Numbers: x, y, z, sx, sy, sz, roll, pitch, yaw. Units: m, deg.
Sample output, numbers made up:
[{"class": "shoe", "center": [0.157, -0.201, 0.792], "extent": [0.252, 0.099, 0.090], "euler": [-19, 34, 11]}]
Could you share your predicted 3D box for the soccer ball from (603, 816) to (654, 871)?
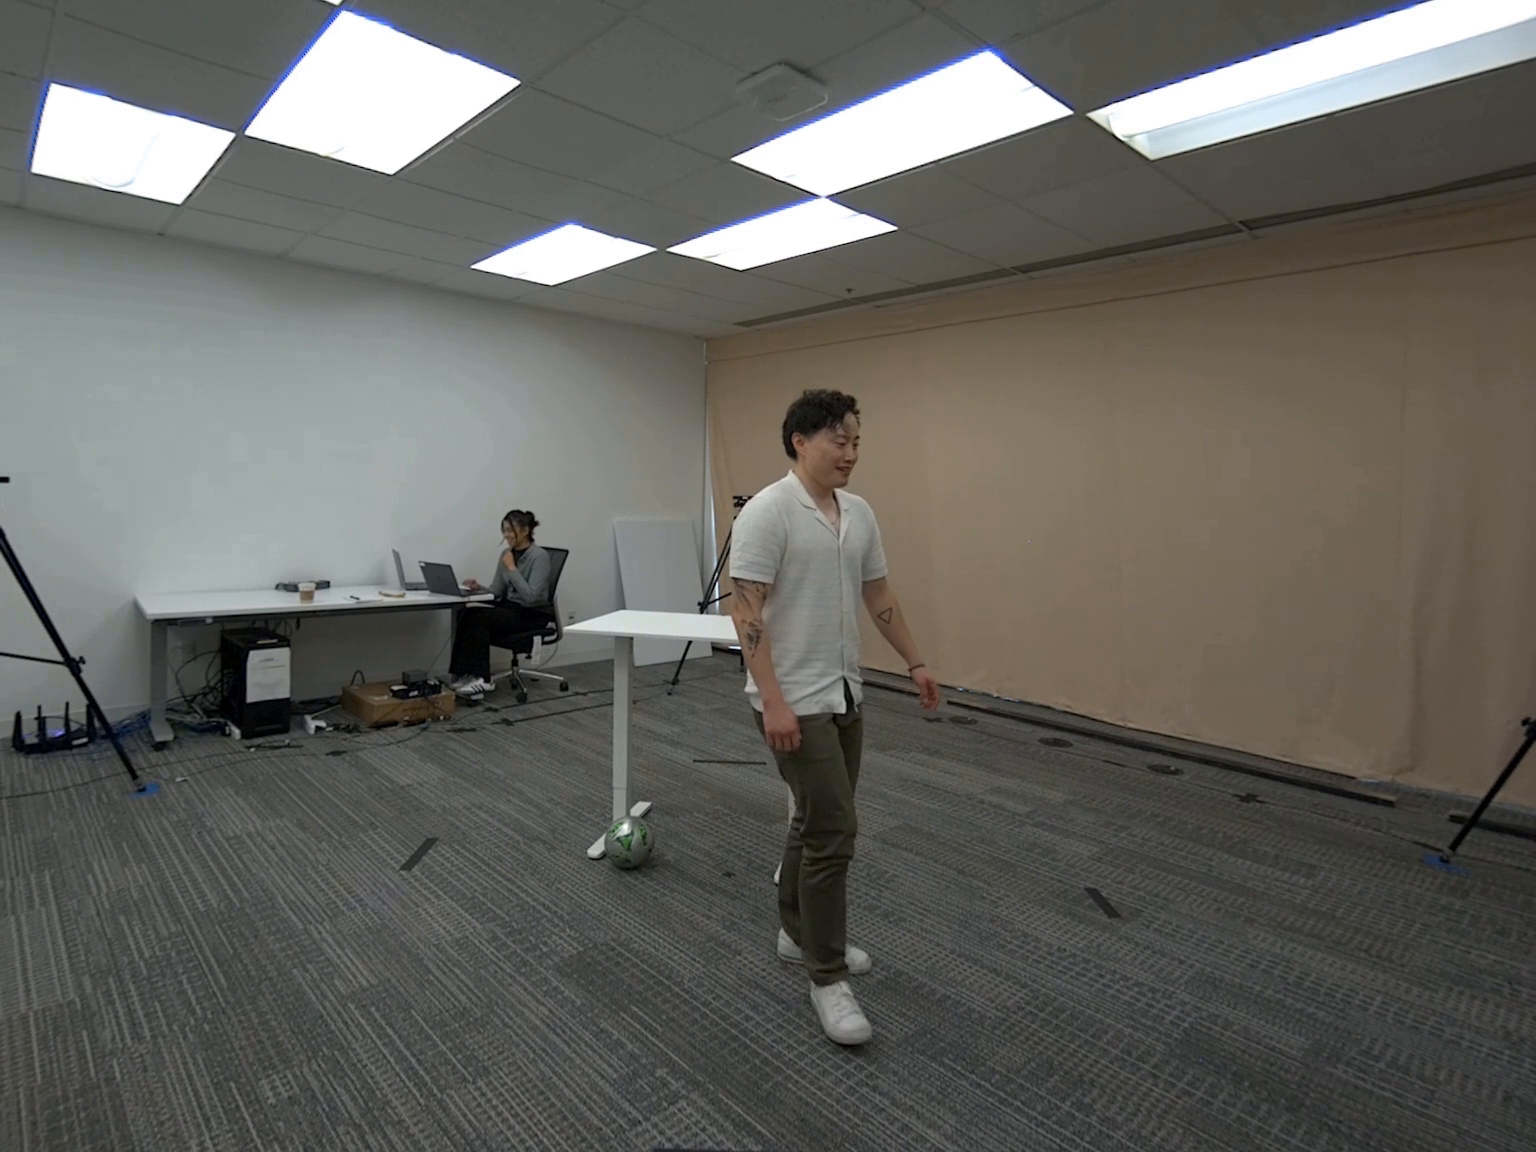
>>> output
[{"class": "soccer ball", "center": [-0.531, 0.996, 3.145], "extent": [0.187, 0.187, 0.188], "euler": [1, 4, -1]}]
